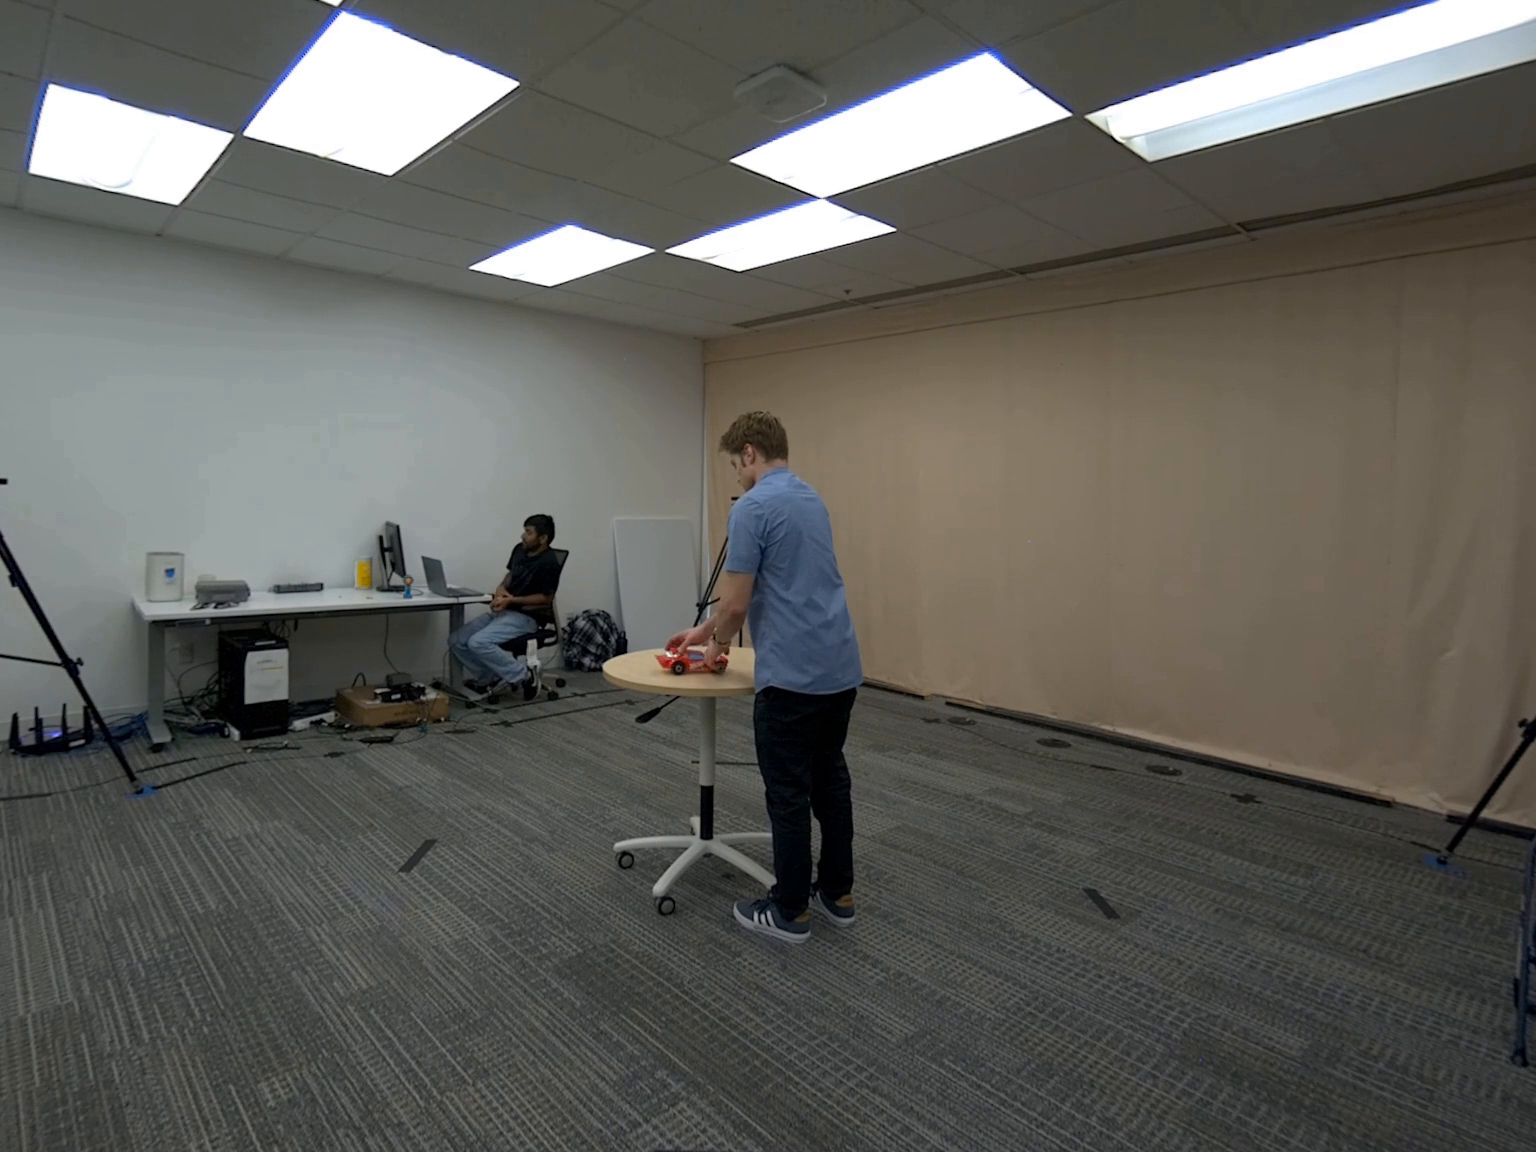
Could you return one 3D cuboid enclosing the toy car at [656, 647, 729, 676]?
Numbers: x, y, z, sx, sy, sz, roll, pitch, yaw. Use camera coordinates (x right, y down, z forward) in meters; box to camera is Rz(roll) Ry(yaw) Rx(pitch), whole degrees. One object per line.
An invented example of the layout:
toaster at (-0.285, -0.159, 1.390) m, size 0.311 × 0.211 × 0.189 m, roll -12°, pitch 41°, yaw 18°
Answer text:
toy car at (-0.278, 0.306, 2.945) m, size 0.252 × 0.083 × 0.132 m, roll 10°, pitch 2°, yaw -11°
